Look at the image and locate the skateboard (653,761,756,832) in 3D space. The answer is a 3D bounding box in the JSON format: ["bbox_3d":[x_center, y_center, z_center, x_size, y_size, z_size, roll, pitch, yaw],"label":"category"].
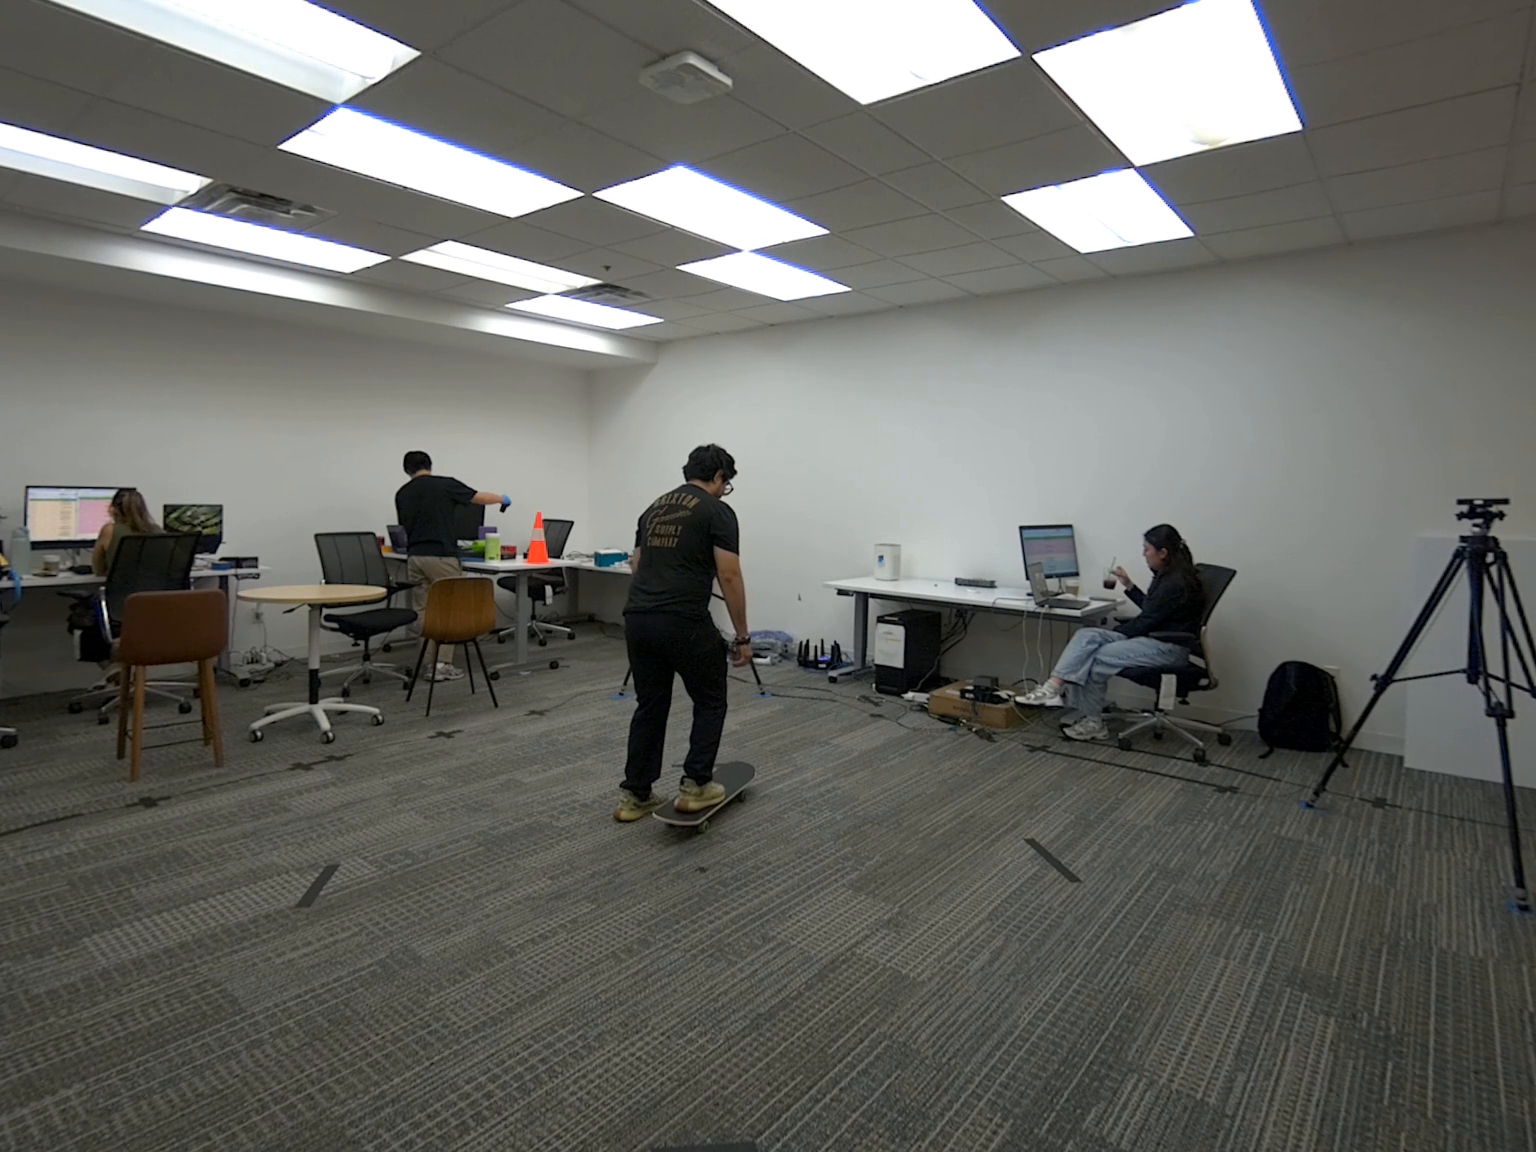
[{"bbox_3d":[-0.269,0.961,3.657,0.198,0.110,0.770,5,7,22],"label":"skateboard"}]
